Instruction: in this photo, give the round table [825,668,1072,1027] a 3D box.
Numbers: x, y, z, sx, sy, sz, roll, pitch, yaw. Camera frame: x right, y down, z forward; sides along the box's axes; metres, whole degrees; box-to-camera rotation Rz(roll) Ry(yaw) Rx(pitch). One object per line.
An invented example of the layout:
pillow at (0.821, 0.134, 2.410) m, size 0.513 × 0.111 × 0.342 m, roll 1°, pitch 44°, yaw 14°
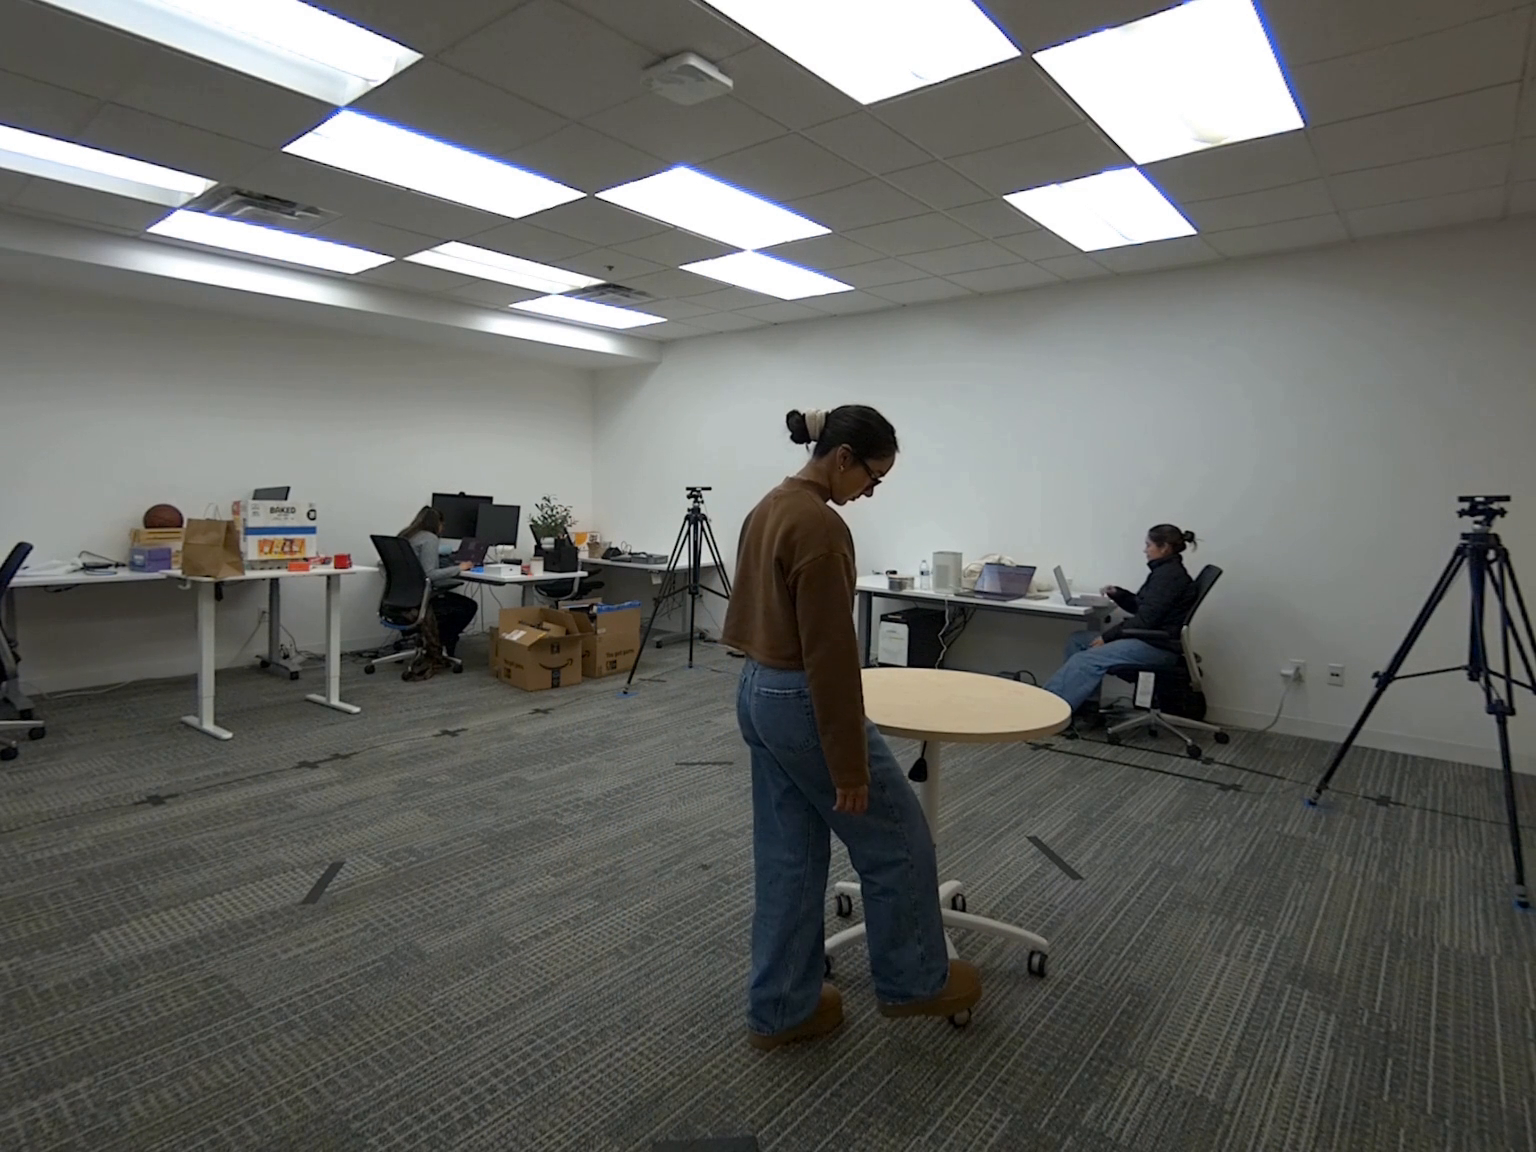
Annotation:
round table at (0.481, 0.748, 2.548) m, size 0.763 × 0.791 × 0.768 m, roll 1°, pitch 4°, yaw -2°
